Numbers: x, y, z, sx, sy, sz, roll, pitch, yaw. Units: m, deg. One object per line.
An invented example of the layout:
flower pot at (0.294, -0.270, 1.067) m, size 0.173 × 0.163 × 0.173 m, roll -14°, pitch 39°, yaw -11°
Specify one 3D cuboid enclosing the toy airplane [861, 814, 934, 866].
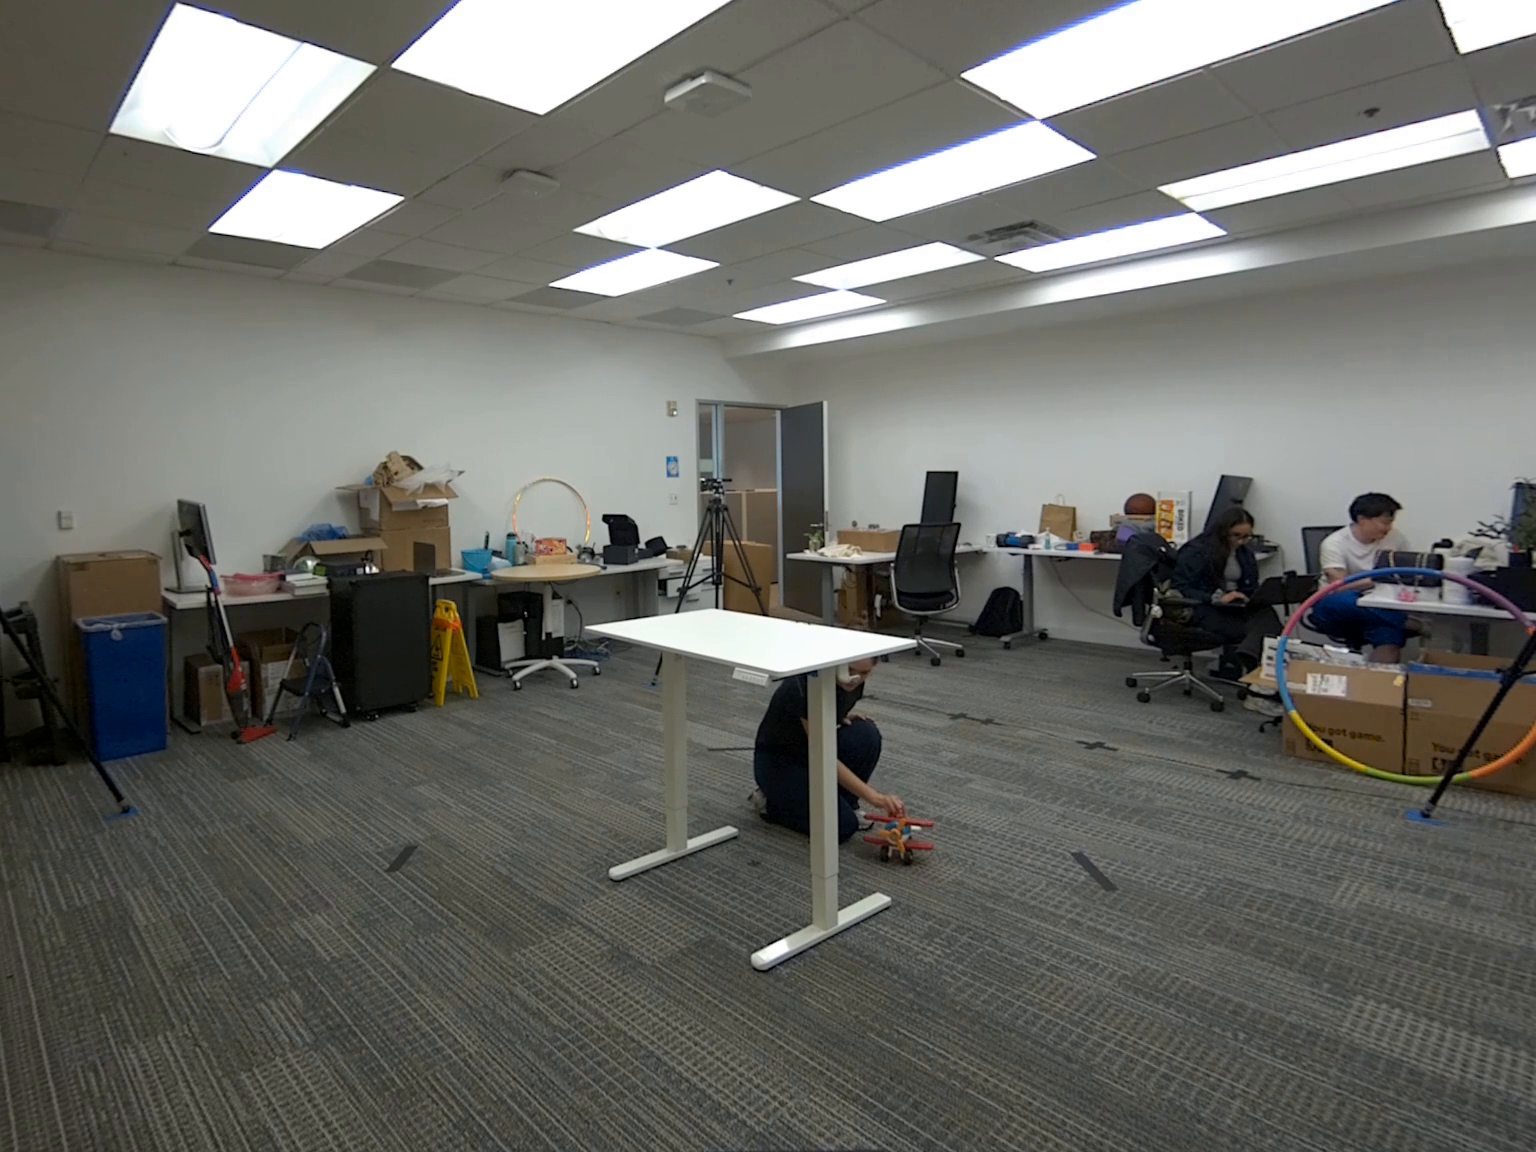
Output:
toy airplane at (0.467, 0.952, 3.171) m, size 0.249 × 0.156 × 0.262 m, roll -1°, pitch 4°, yaw -11°
